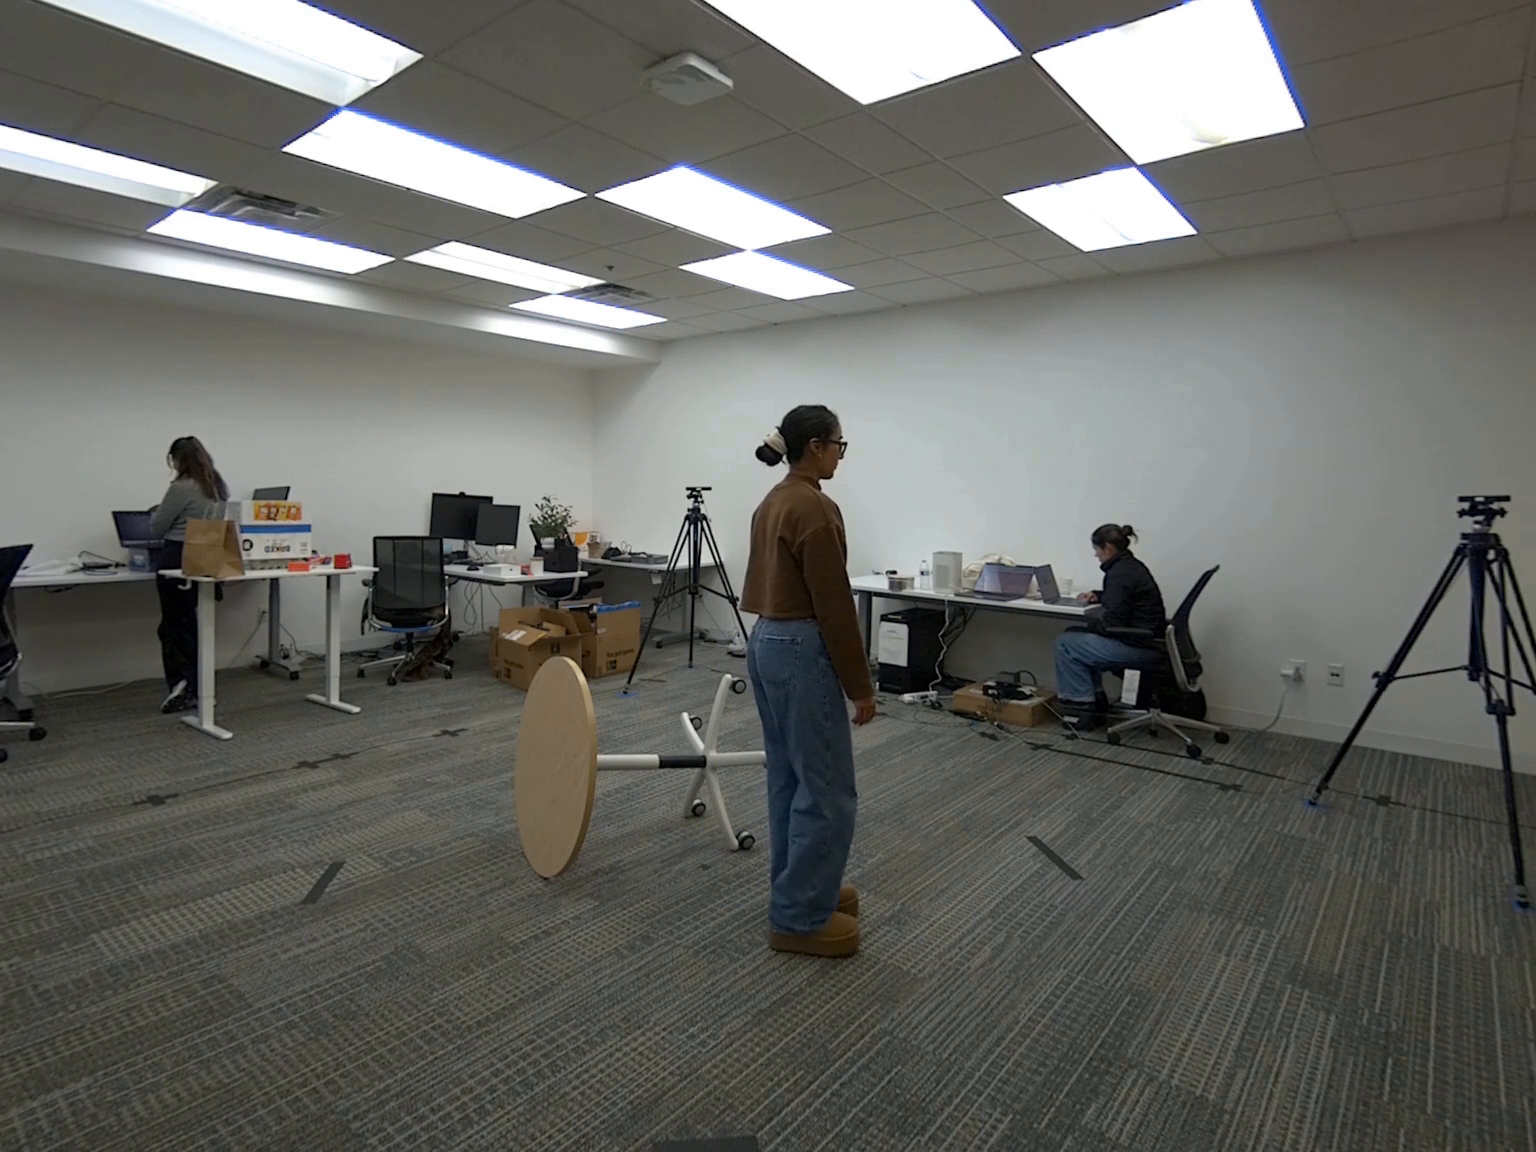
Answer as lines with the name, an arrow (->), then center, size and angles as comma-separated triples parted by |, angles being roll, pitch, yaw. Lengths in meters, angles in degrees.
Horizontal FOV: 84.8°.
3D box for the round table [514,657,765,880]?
round table -> -0.484, 0.710, 3.280 | 0.769, 0.764, 0.788 | 7, 0, -32
